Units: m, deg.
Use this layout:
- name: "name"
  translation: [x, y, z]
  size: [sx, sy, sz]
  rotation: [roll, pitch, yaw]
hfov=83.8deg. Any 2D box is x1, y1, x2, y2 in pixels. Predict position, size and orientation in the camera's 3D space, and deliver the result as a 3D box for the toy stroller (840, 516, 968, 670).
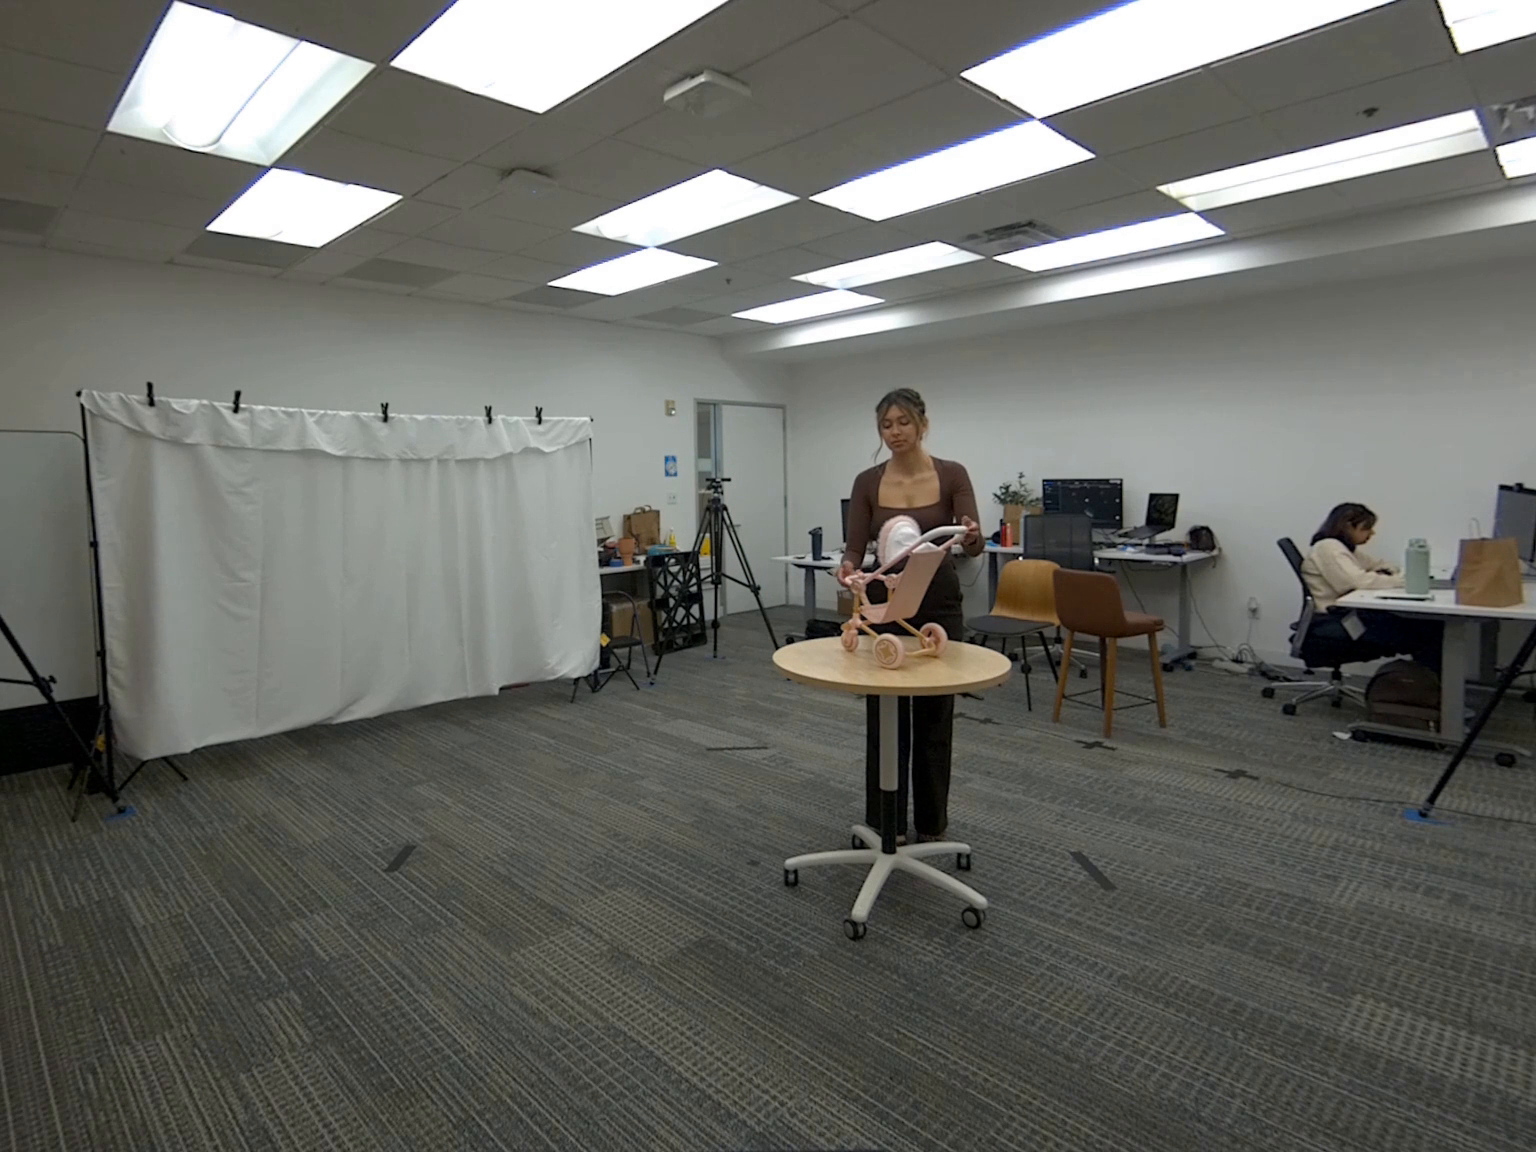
- name: "toy stroller"
  translation: [0.421, 0.049, 2.769]
  size: [0.274, 0.529, 0.354]
  rotation: [-3, 19, -40]
